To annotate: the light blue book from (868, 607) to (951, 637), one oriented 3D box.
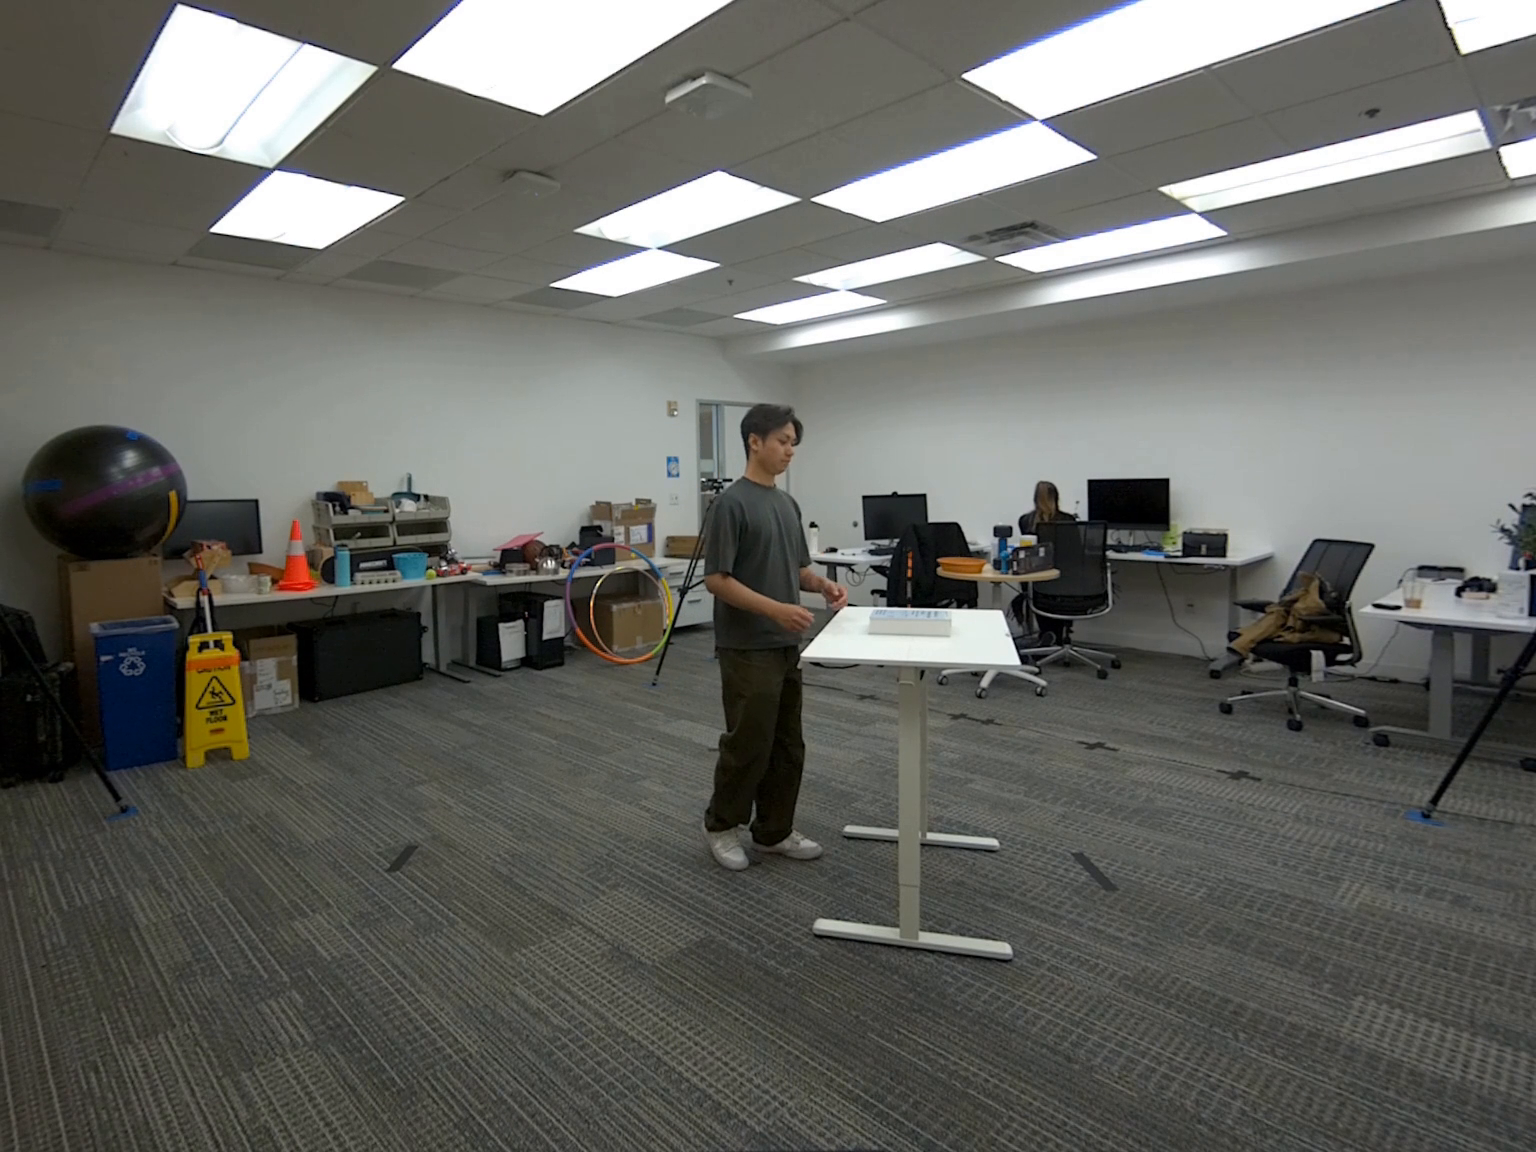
[{"bbox_3d":[0.473,0.153,2.848,0.264,0.059,0.190,1,6,12],"label":"light blue book"}]
